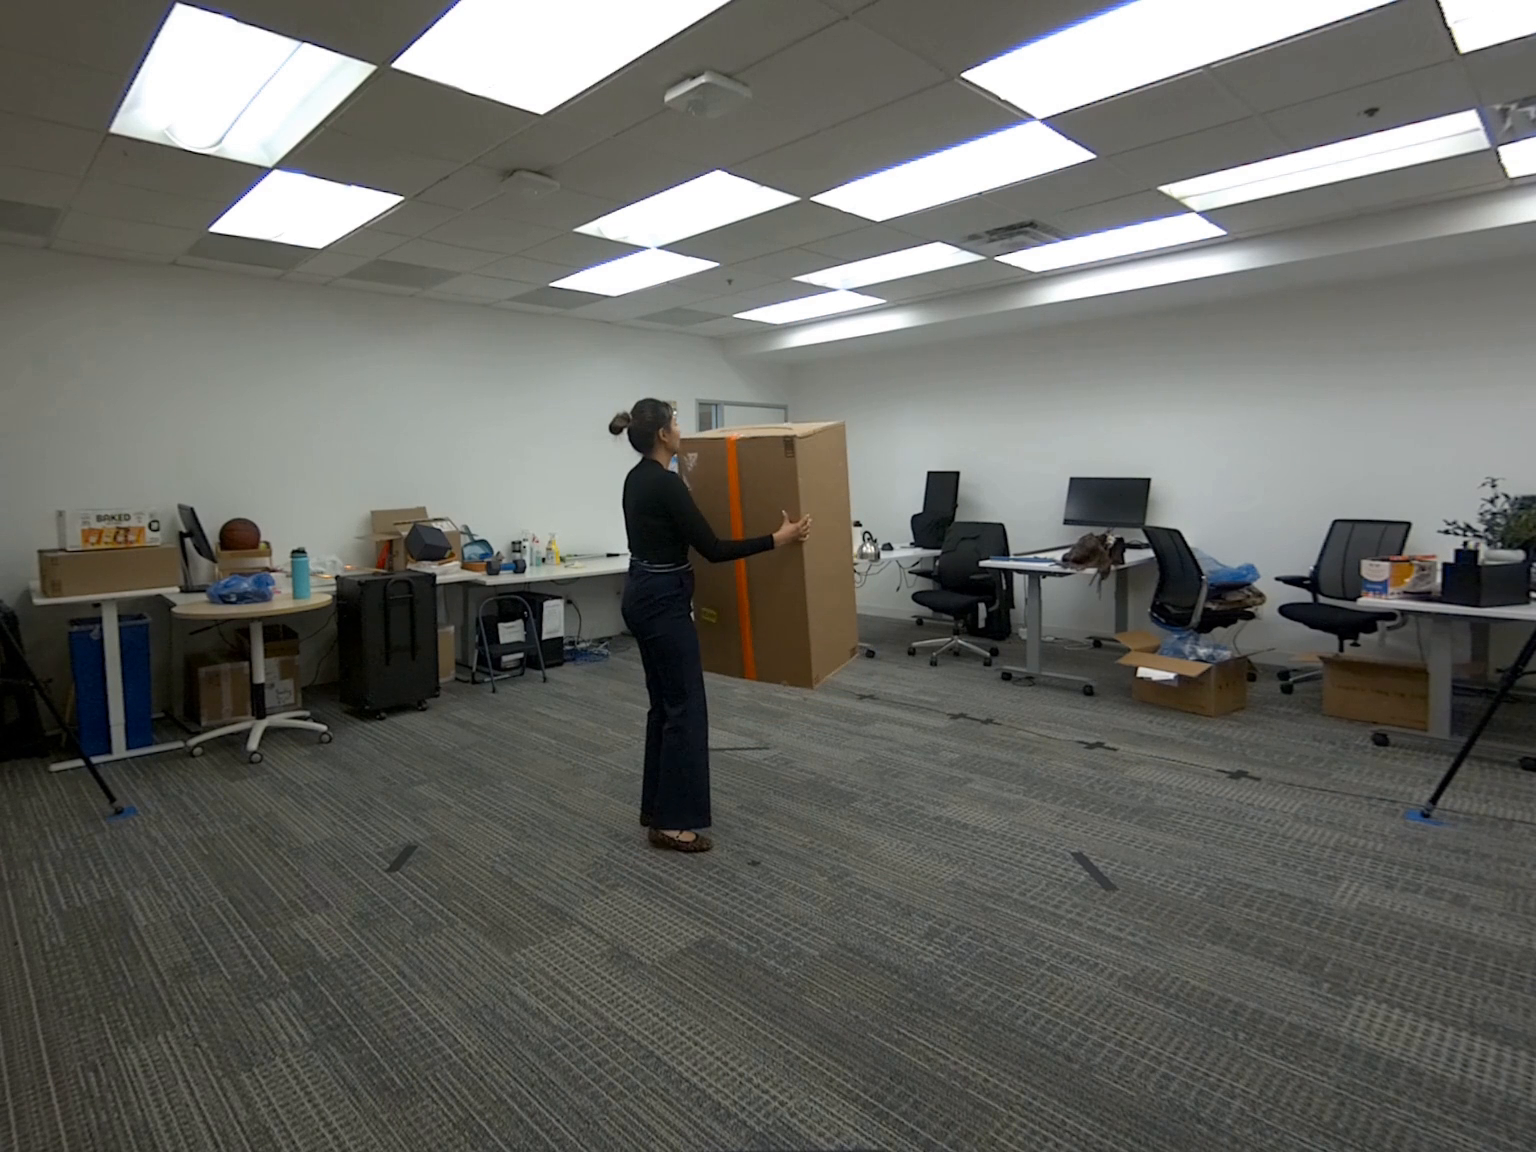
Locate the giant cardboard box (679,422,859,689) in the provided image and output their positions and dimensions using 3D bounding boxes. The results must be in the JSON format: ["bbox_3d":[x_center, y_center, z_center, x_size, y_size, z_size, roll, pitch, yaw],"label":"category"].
[{"bbox_3d":[0.012,-0.107,3.622,0.594,1.013,0.419,4,15,34],"label":"giant cardboard box"}]
